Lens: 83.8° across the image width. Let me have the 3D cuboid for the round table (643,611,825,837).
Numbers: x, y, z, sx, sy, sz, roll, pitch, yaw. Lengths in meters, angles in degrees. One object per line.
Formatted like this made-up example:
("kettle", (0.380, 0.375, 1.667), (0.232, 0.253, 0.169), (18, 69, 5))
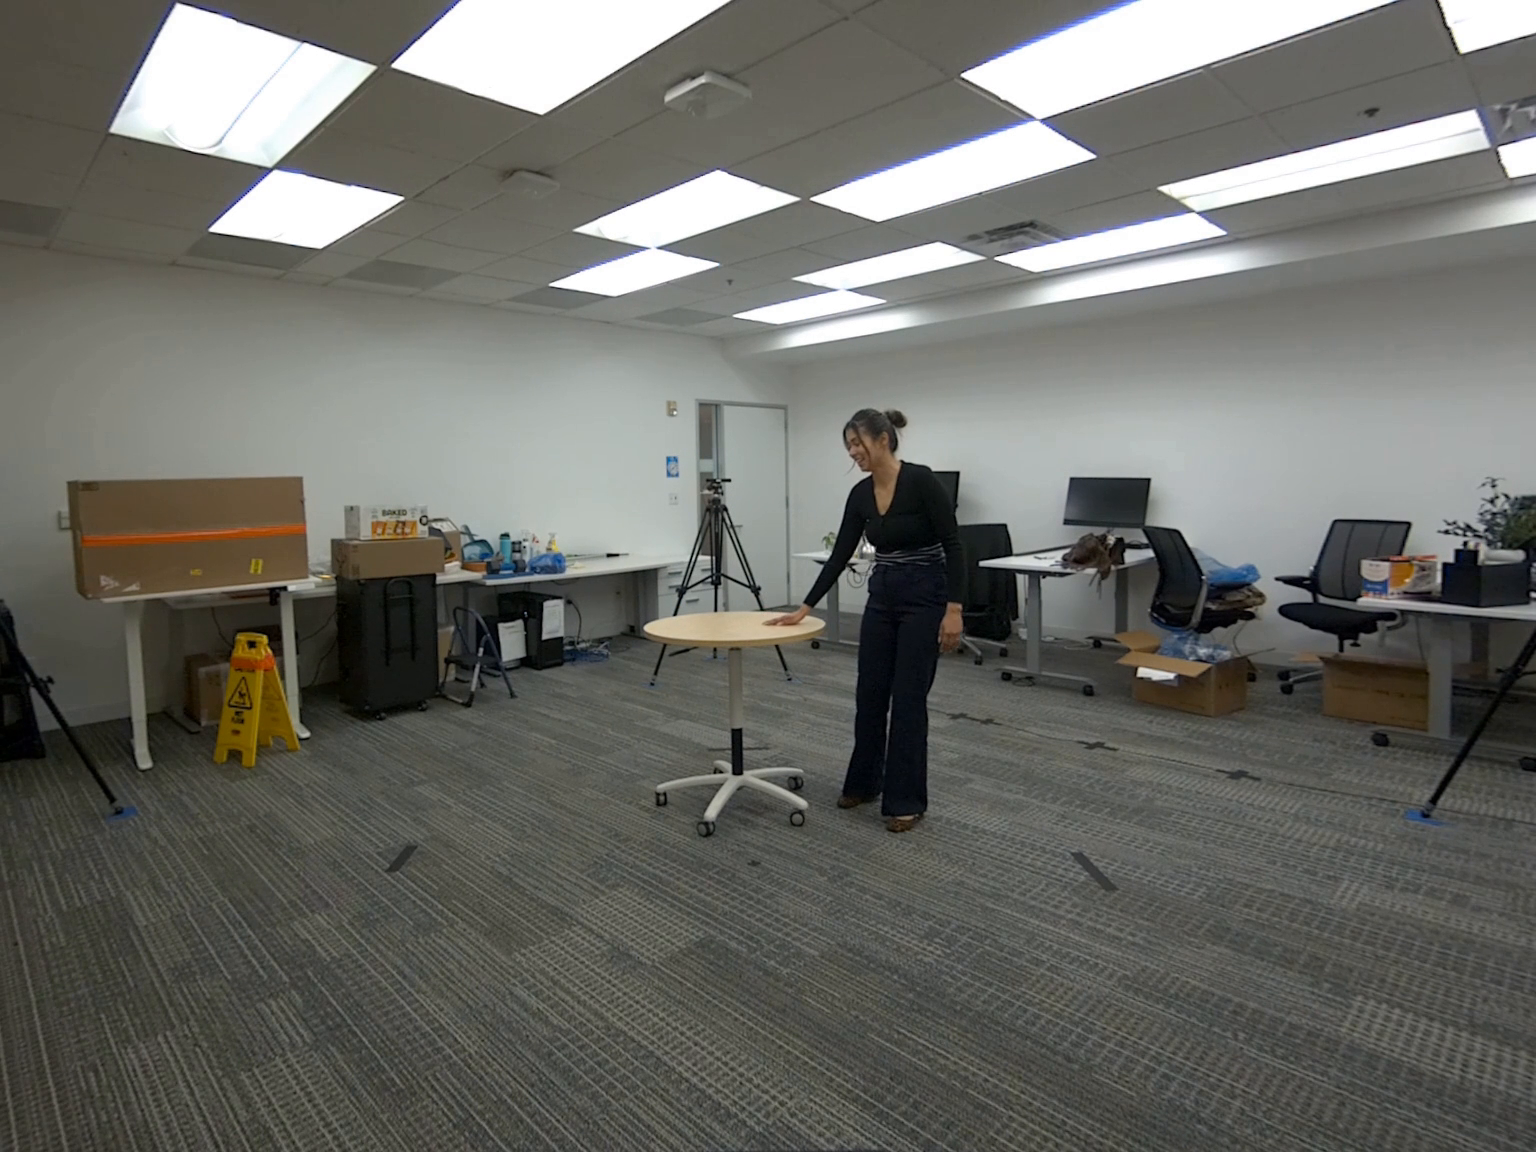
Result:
("round table", (-0.131, 0.597, 3.635), (0.763, 0.791, 0.767), (-1, 4, -2))
